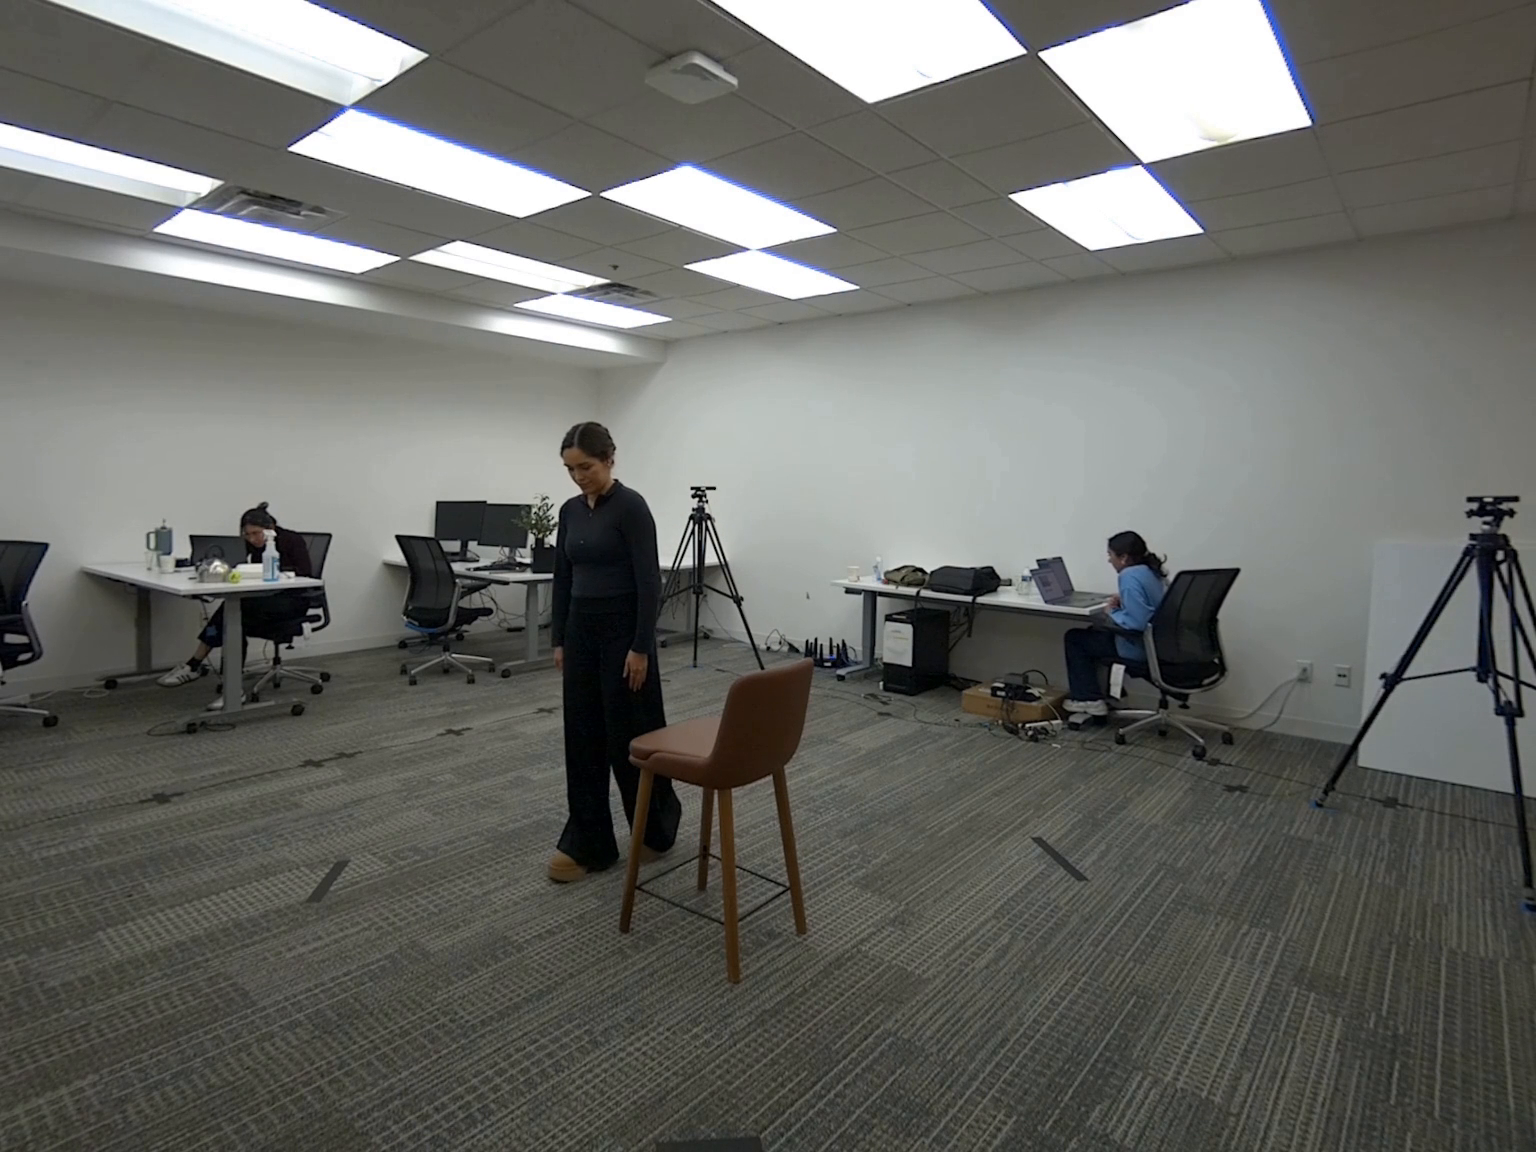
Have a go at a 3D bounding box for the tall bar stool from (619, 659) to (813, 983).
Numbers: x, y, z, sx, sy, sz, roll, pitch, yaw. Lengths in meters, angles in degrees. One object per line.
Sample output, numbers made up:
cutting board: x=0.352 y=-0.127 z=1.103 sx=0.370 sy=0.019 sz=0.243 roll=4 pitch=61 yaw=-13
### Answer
tall bar stool: x=-0.157 y=0.677 z=2.637 sx=0.483 sy=0.886 sz=0.443 roll=6 pitch=5 yaw=37
